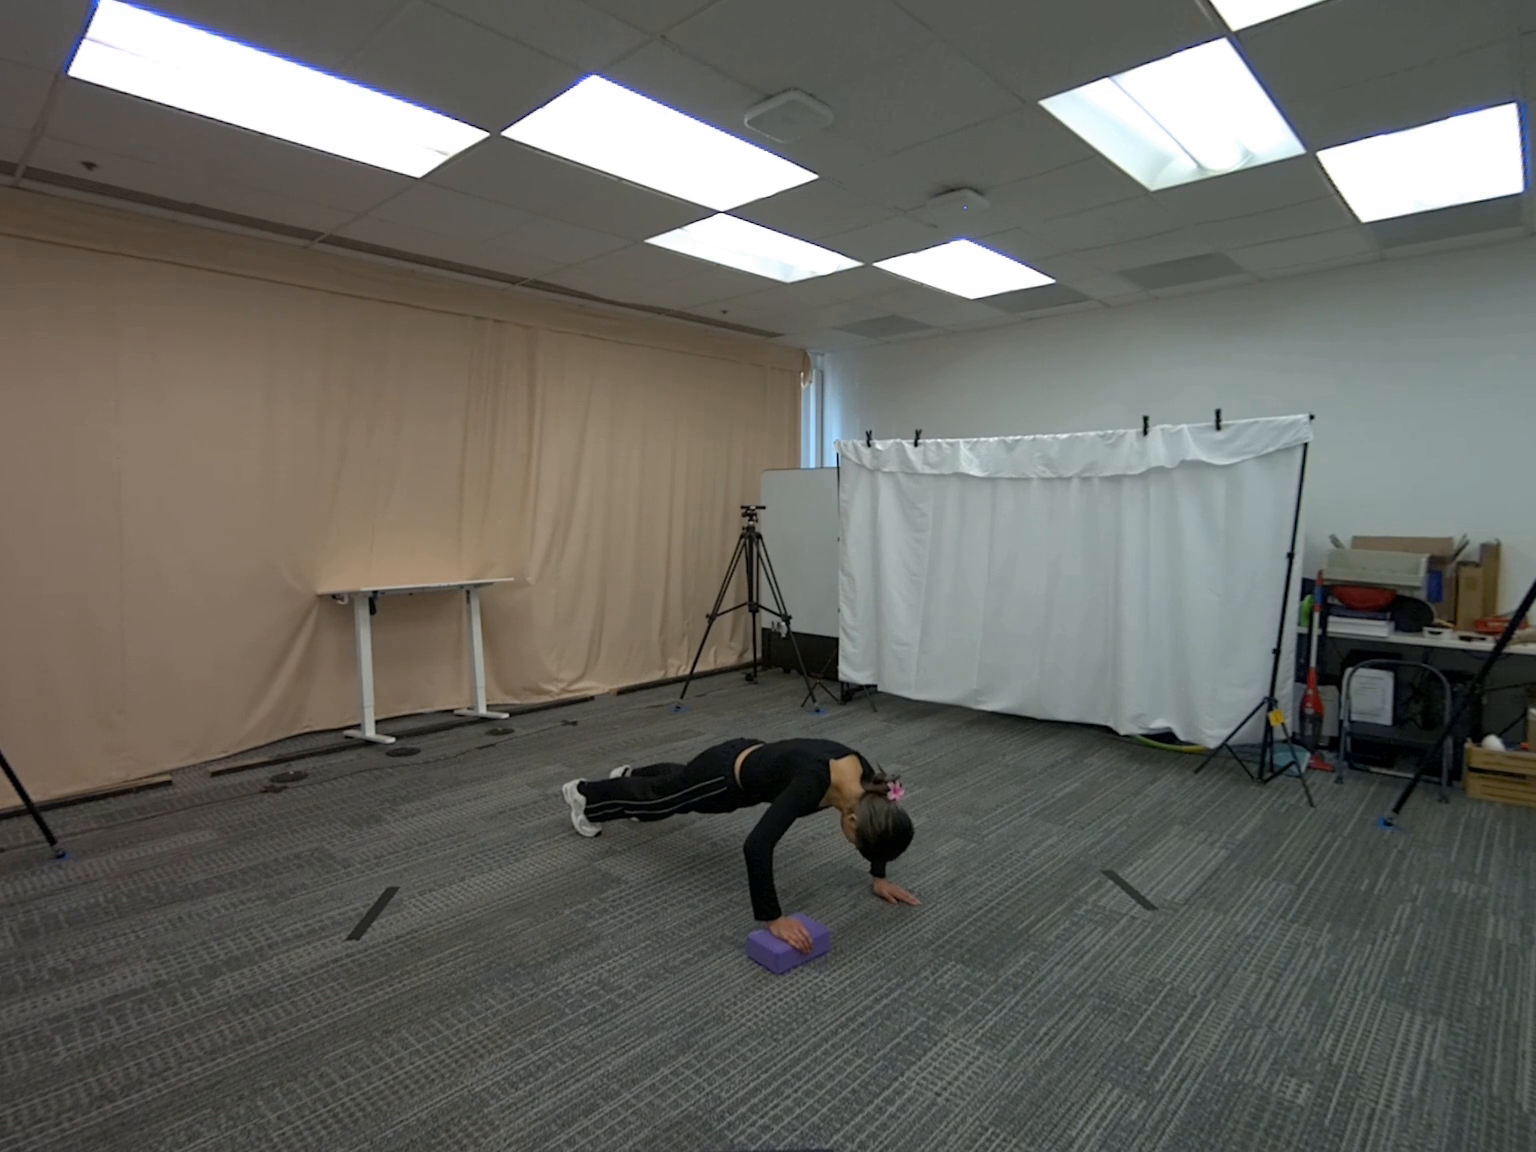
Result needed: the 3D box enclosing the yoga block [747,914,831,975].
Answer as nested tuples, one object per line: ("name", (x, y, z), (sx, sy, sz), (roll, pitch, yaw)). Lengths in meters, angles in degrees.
("yoga block", (0.069, 1.139, 2.612), (0.222, 0.076, 0.154), (-6, 7, -40))
